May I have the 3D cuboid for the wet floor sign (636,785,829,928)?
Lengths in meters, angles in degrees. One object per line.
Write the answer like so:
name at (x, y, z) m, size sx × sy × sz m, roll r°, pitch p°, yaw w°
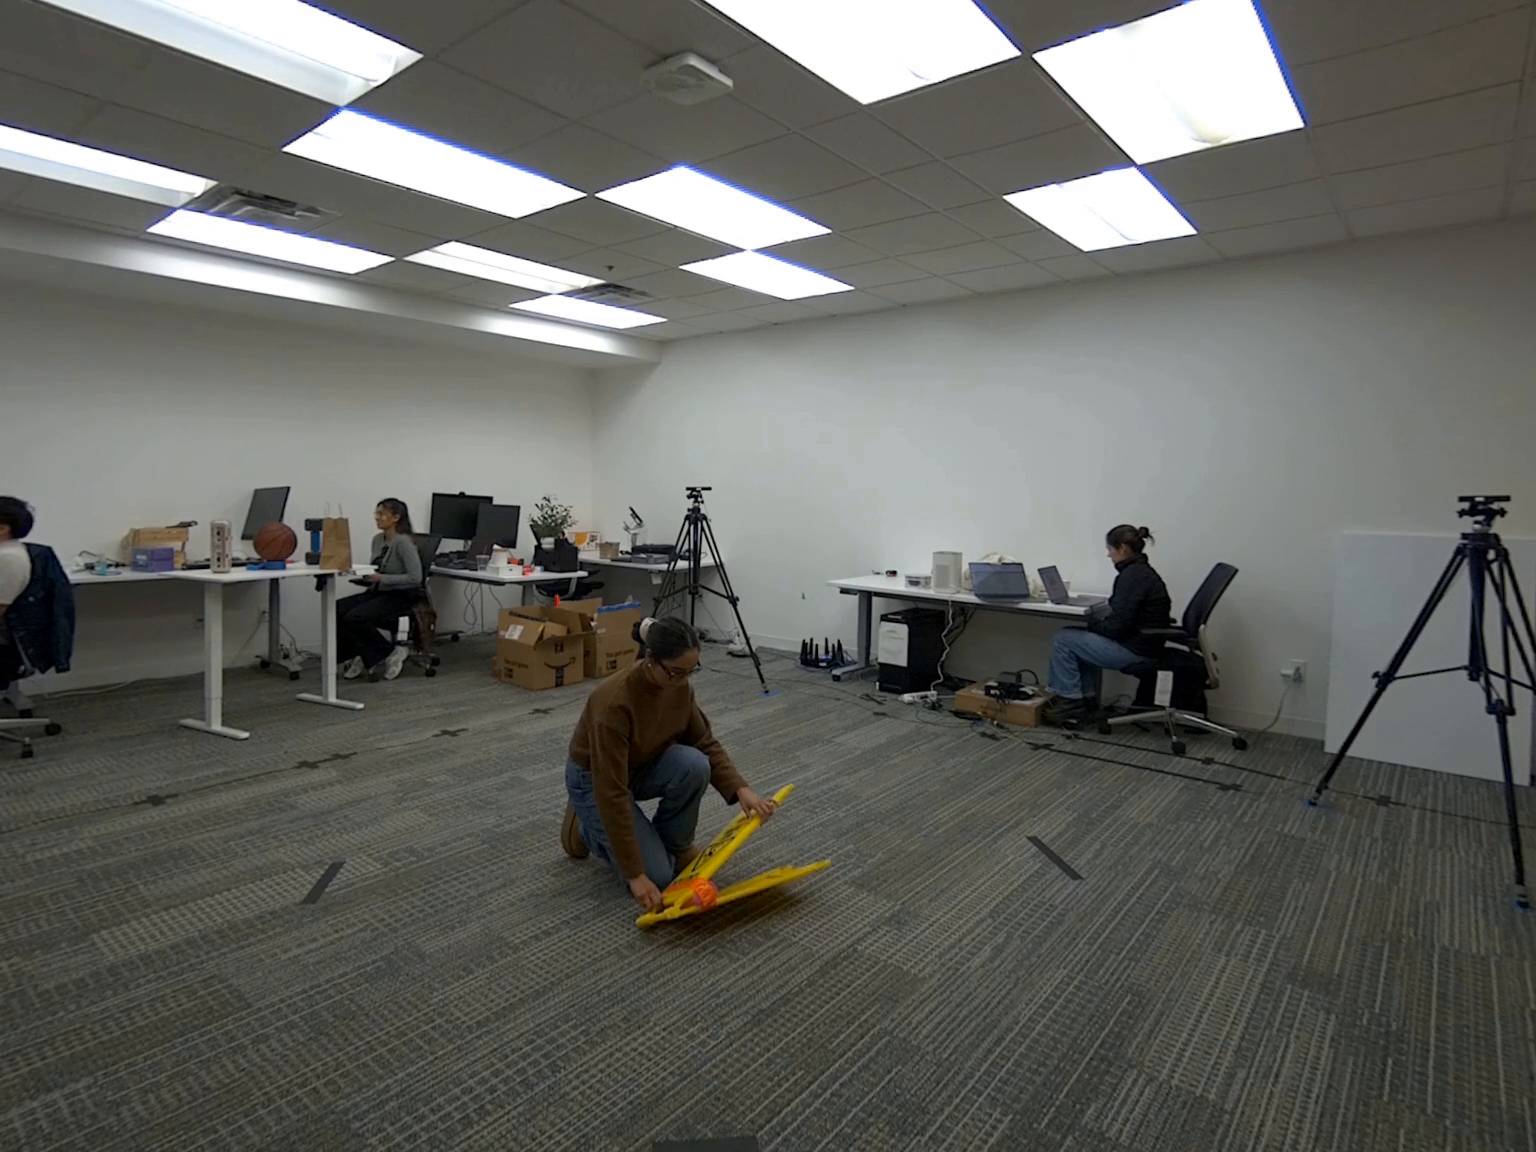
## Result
wet floor sign at (-0.152, 0.975, 2.808) m, size 0.632 × 0.293 × 0.285 m, roll -19°, pitch -11°, yaw -44°
